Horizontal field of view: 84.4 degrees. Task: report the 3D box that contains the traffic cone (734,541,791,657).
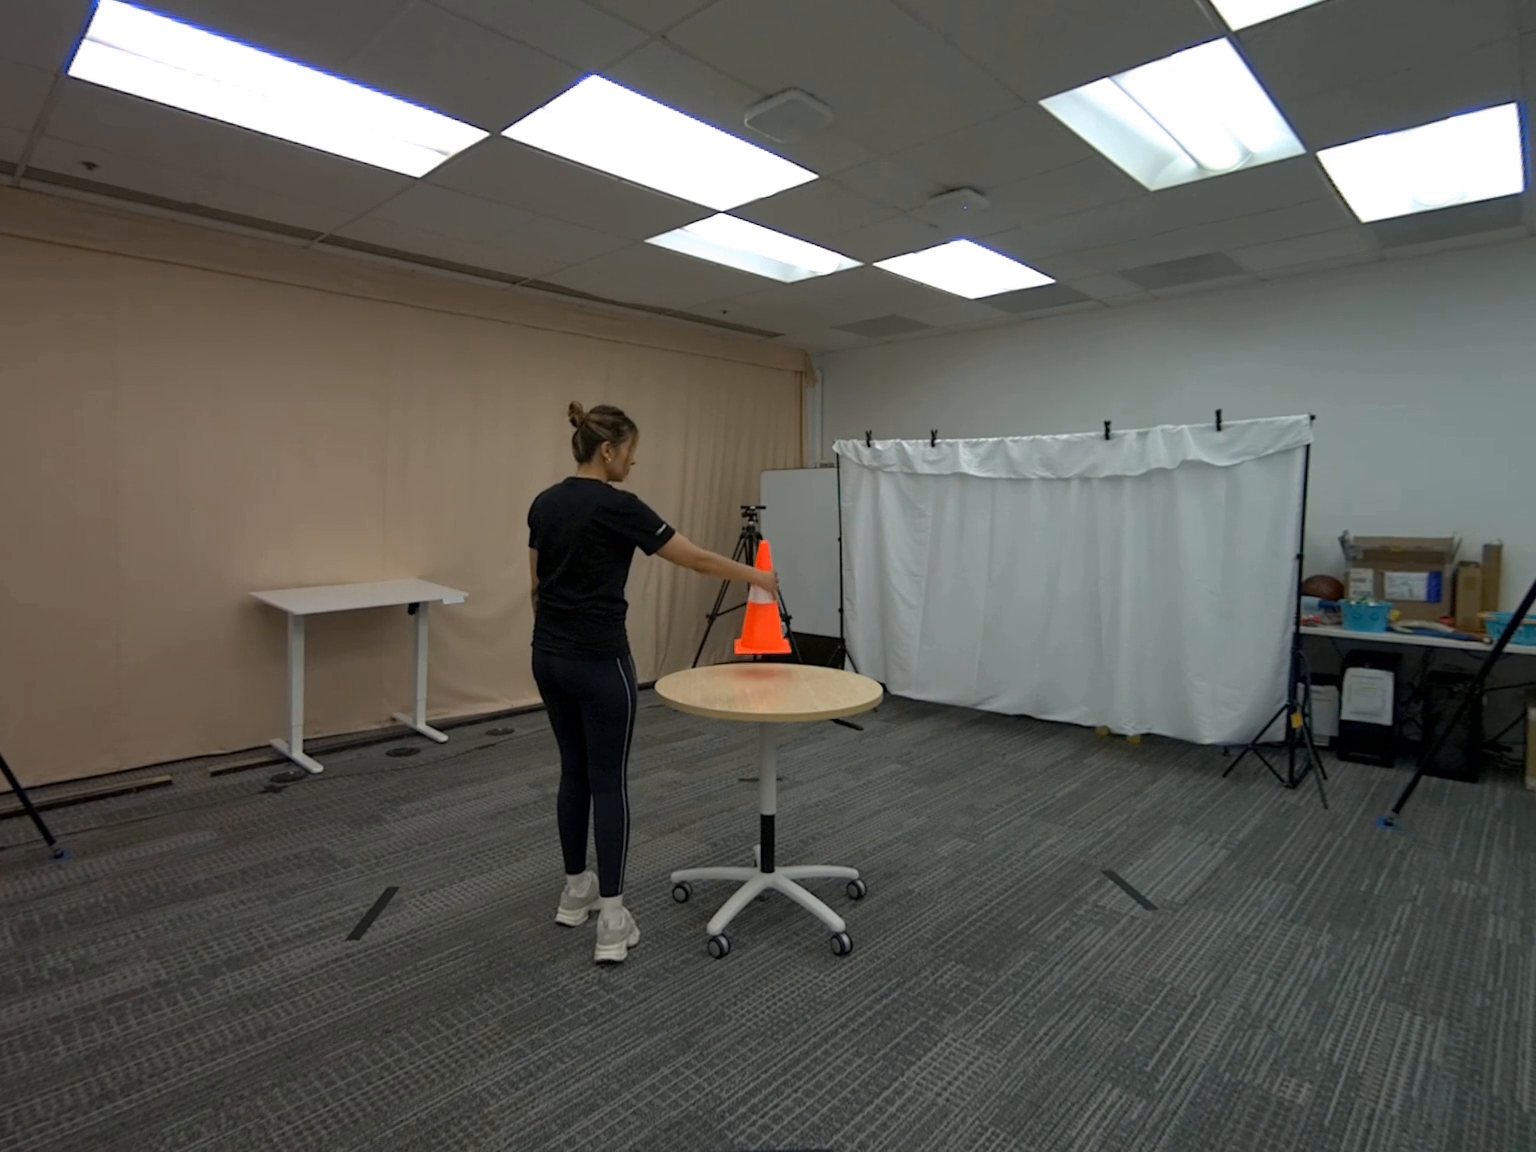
[{"bbox_3d":[-0.020,0.055,3.006,0.202,0.382,0.207,-3,8,-12],"label":"traffic cone"}]
